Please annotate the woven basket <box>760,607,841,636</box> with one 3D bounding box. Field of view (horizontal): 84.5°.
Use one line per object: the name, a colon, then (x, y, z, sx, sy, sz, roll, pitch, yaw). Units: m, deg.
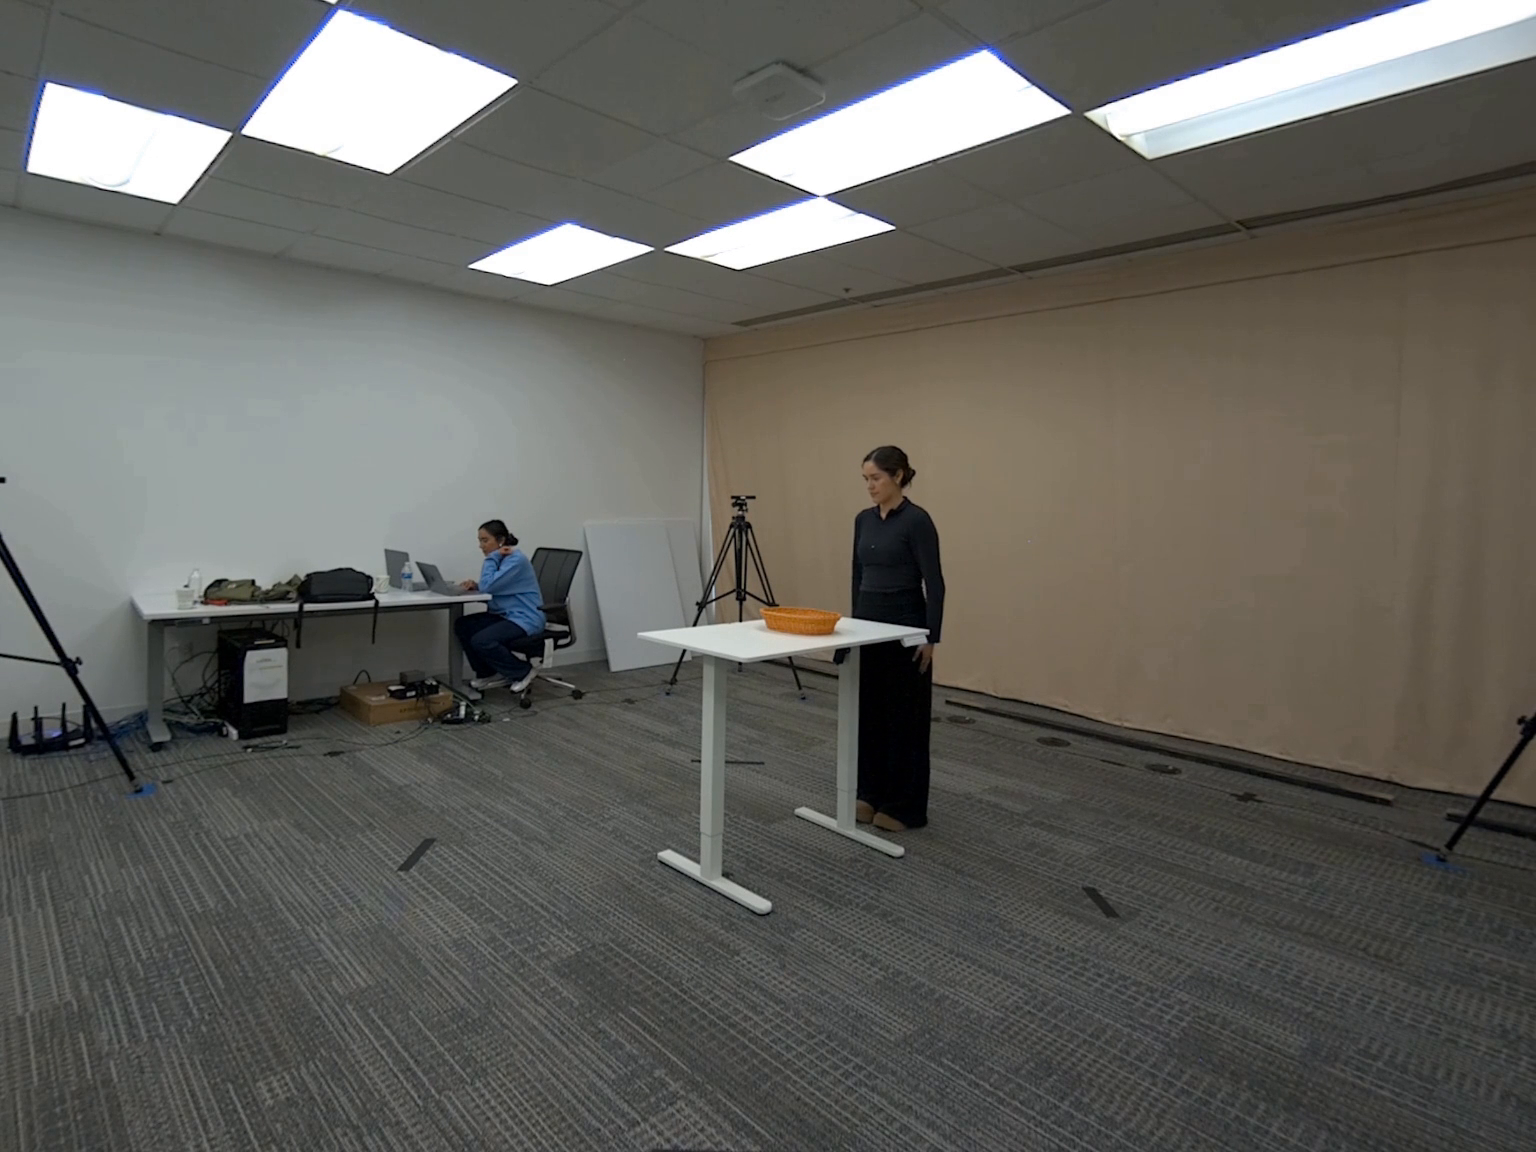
woven basket: (0.120, 0.179, 3.284, 0.247, 0.073, 0.359, -3, 7, -41)
